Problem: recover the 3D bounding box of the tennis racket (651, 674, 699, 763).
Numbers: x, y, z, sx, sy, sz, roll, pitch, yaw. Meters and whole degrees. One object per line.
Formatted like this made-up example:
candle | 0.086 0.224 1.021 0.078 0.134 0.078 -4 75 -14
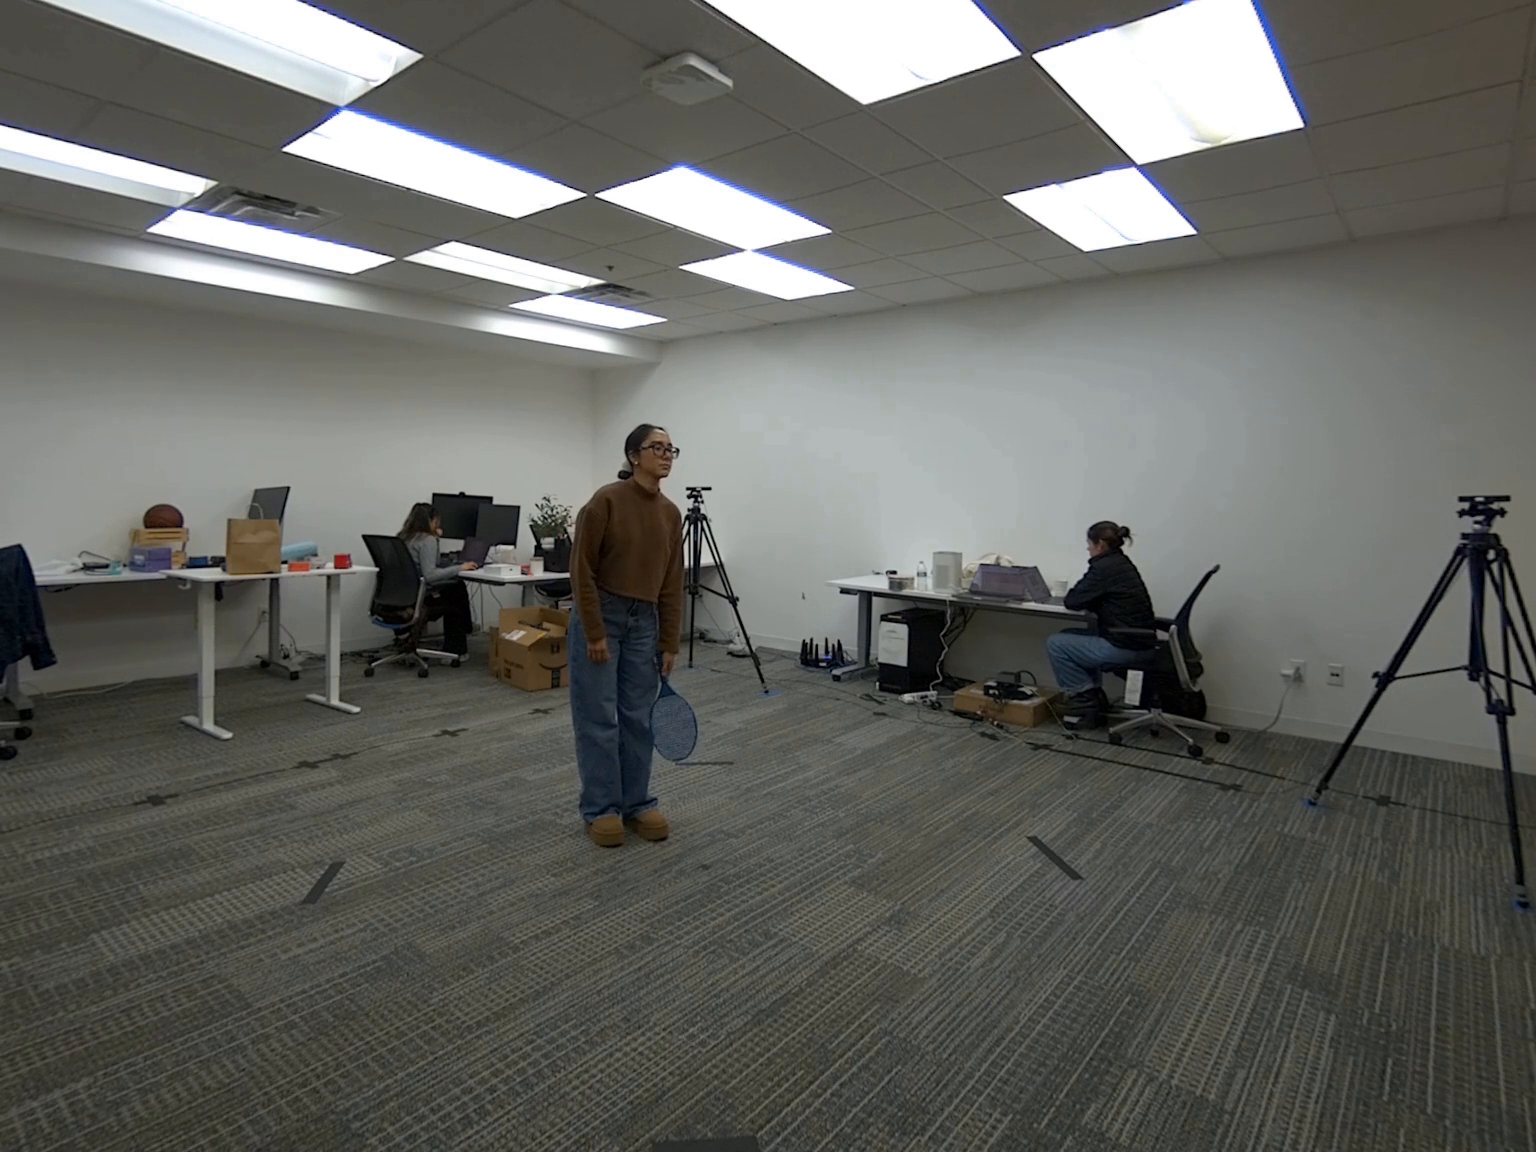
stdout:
tennis racket | -0.403 0.516 3.379 0.217 0.438 0.031 -18 -11 26
